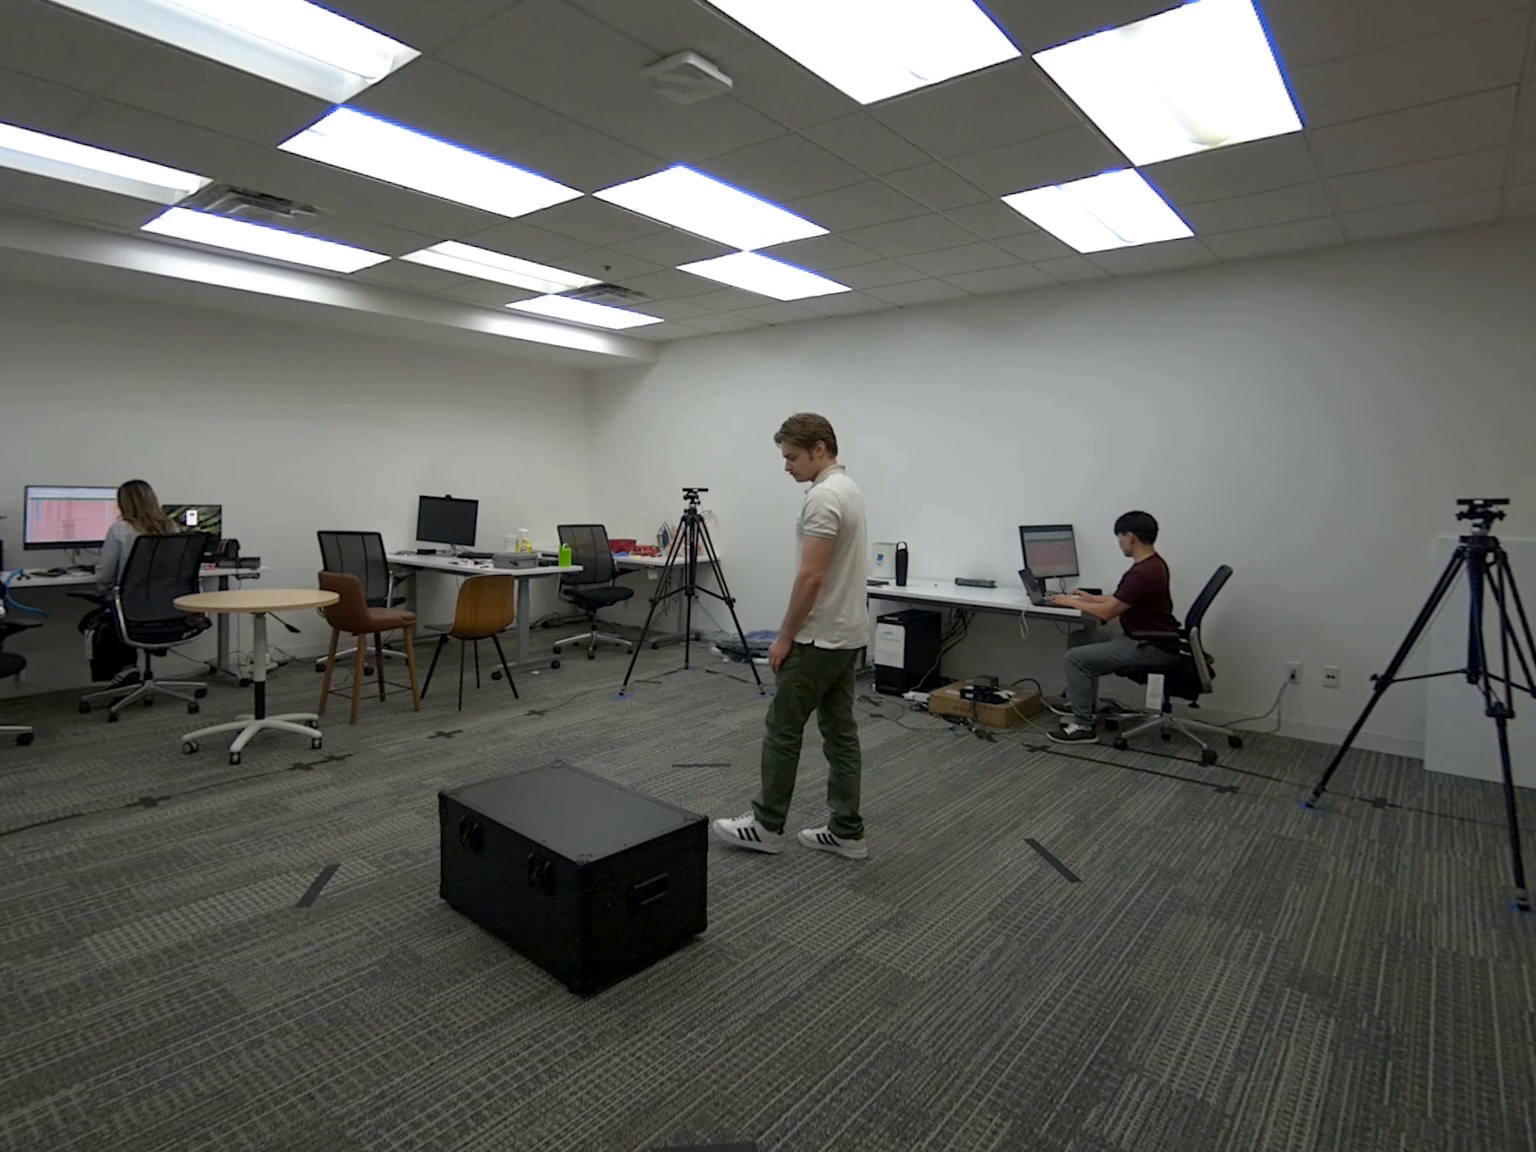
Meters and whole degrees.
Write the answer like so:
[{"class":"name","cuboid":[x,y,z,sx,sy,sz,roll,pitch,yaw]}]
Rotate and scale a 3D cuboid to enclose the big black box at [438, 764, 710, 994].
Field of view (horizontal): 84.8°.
[{"class":"big black box","cuboid":[-0.667,0.908,2.738,0.891,0.395,0.506,6,7,41]}]
